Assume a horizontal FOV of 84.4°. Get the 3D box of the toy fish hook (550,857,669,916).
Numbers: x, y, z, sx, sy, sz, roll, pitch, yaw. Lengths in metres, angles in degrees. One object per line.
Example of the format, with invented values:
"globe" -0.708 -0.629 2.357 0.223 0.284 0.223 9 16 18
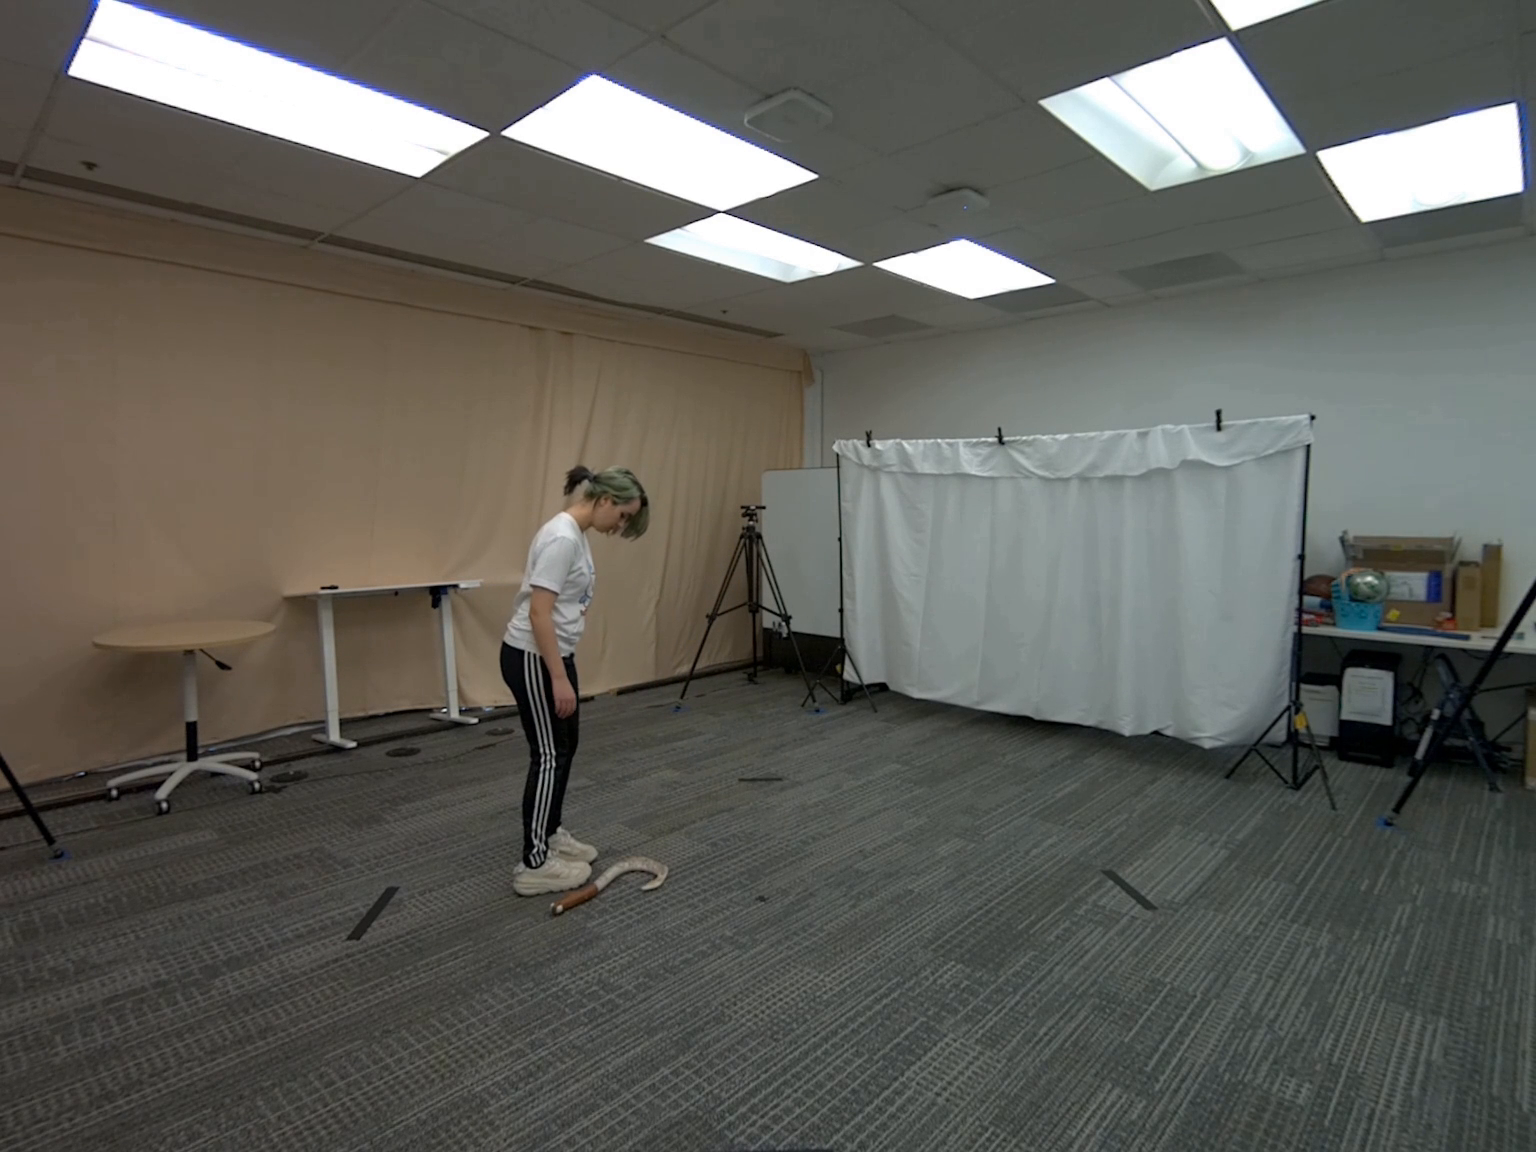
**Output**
"toy fish hook" -0.557 1.122 3.035 0.231 0.048 0.492 -1 4 33
